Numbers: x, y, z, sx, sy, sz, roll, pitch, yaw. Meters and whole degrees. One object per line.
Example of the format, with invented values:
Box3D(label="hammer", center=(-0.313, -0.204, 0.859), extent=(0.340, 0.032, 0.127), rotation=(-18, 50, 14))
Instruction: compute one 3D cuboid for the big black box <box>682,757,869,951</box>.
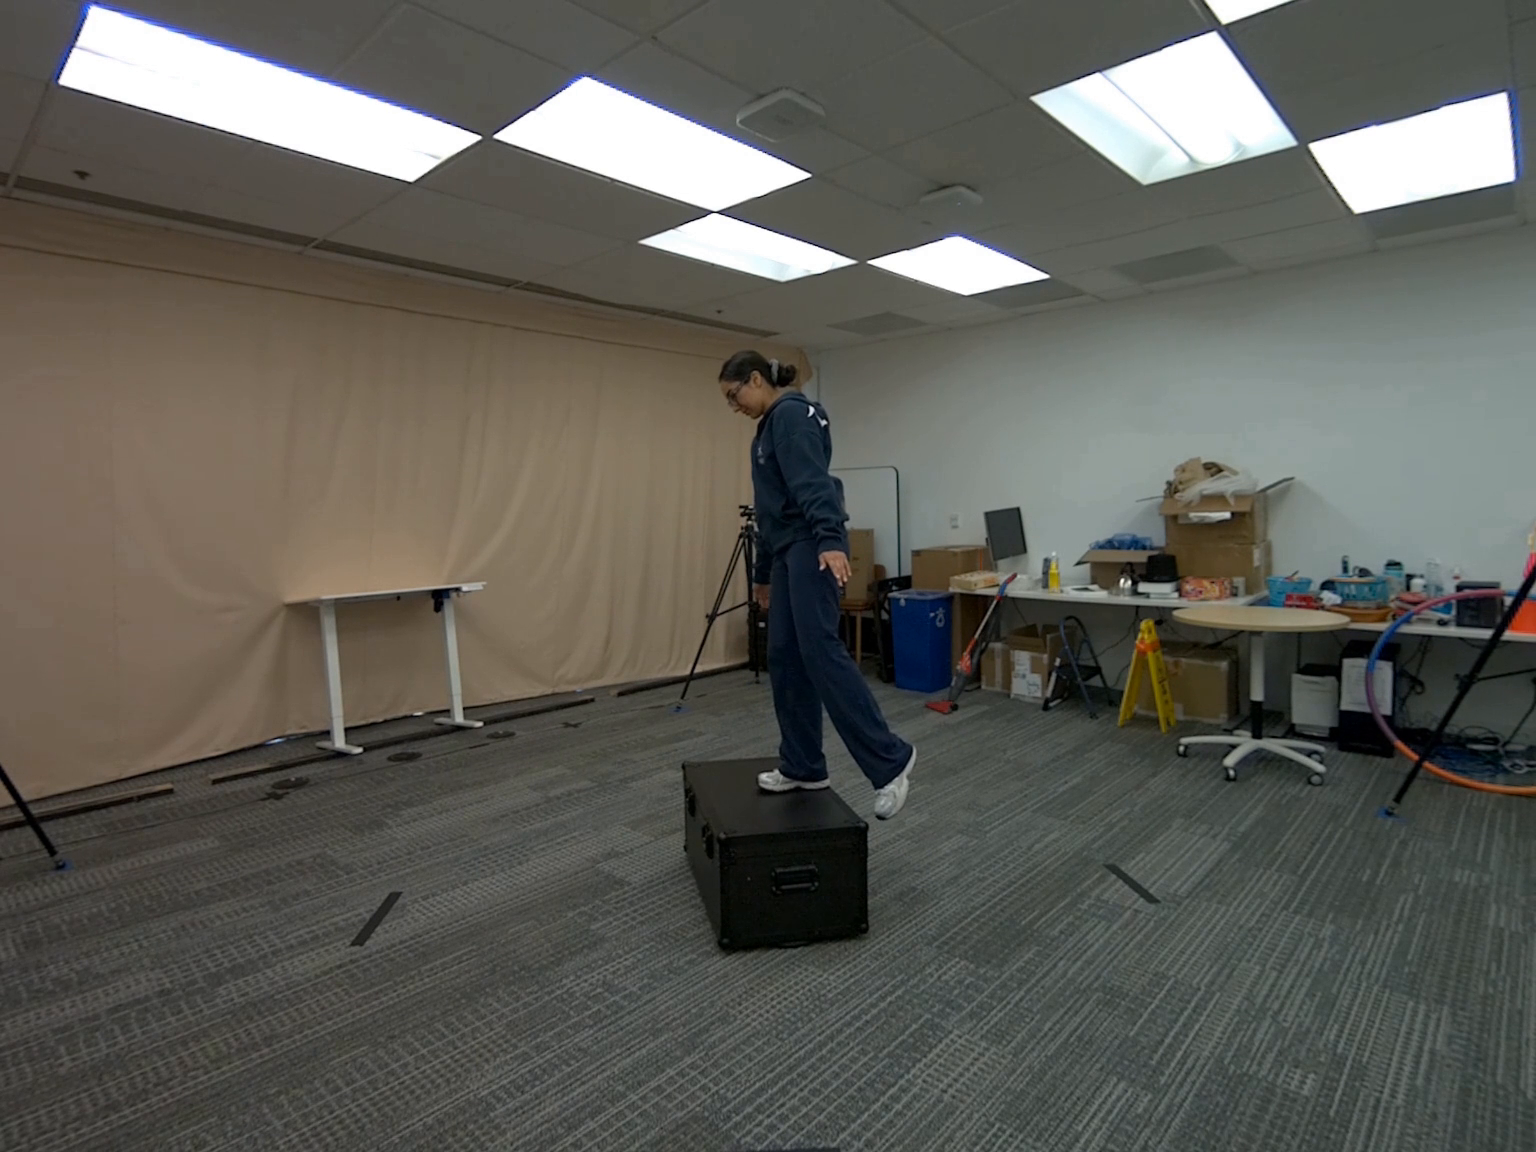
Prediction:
Box3D(label="big black box", center=(-0.014, 0.947, 3.048), extent=(0.514, 0.395, 0.875), rotation=(-2, 5, -13))
